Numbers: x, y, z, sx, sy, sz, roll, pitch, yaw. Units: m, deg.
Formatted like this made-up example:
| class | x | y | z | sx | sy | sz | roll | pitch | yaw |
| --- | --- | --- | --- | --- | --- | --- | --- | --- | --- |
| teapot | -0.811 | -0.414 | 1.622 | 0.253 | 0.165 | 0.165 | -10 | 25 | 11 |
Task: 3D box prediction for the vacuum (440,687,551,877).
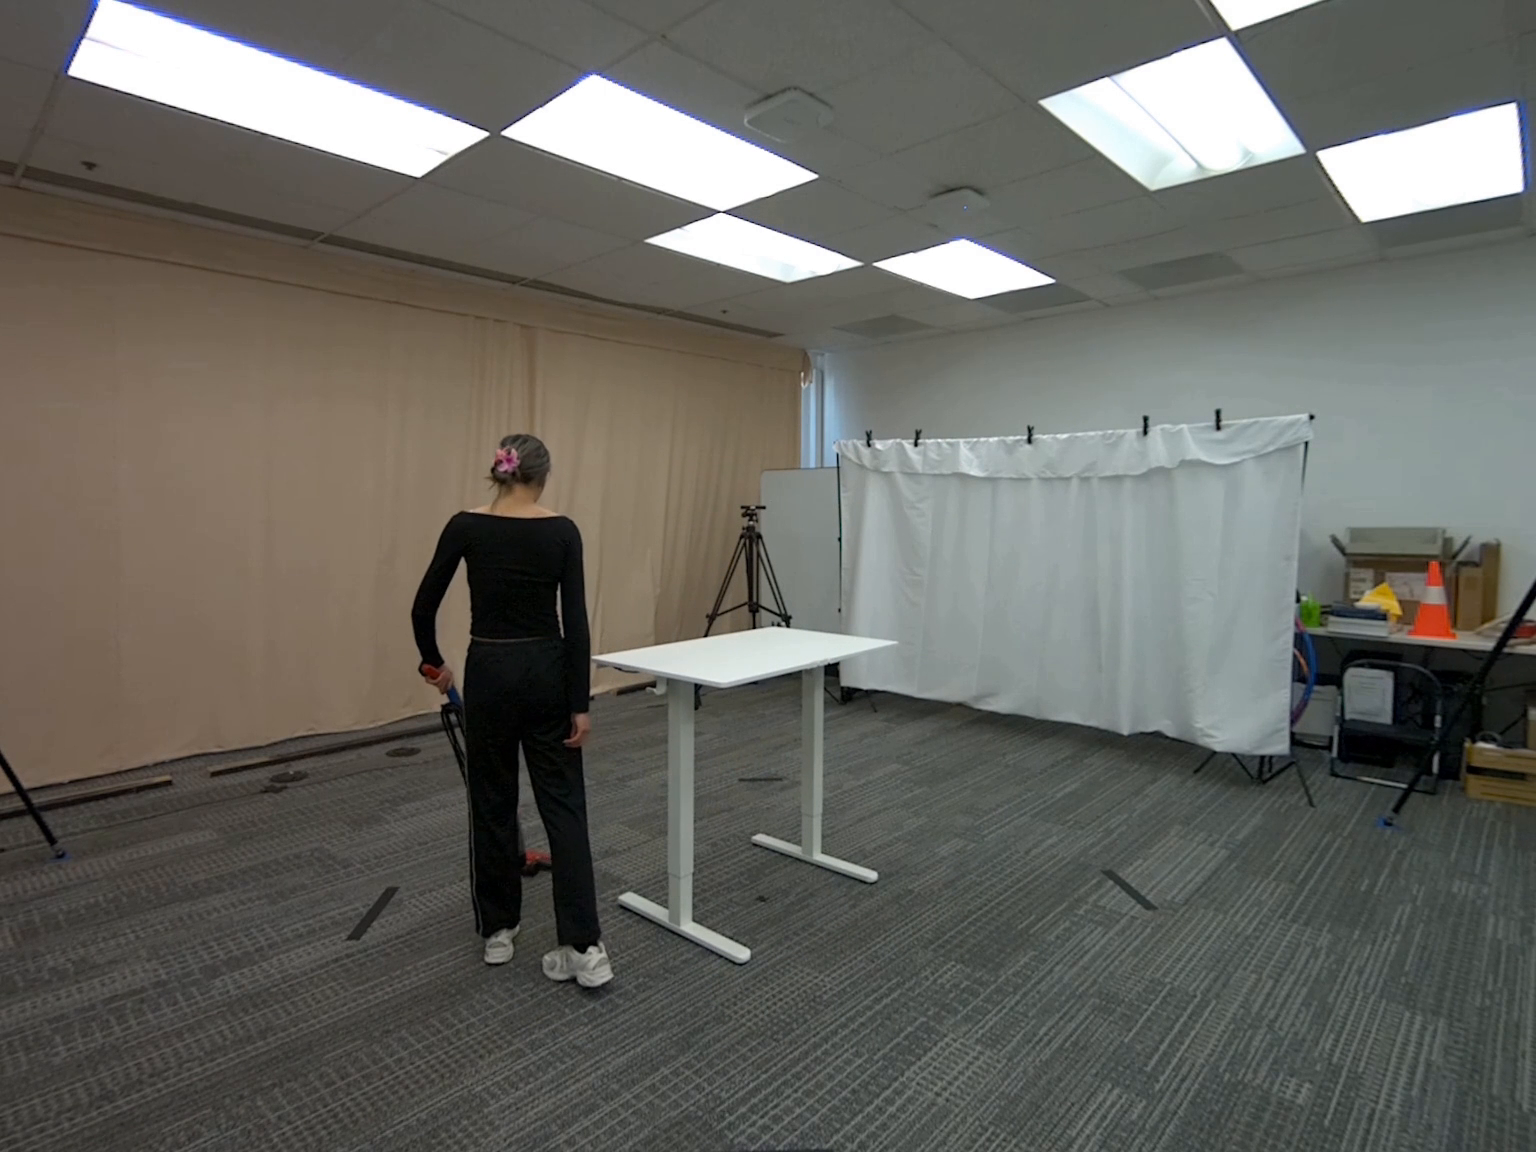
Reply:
| class | x | y | z | sx | sy | sz | roll | pitch | yaw |
| --- | --- | --- | --- | --- | --- | --- | --- | --- | --- |
| vacuum | -1.009 | 0.715 | 2.961 | 0.259 | 1.024 | 0.144 | 6 | 39 | 23 |
